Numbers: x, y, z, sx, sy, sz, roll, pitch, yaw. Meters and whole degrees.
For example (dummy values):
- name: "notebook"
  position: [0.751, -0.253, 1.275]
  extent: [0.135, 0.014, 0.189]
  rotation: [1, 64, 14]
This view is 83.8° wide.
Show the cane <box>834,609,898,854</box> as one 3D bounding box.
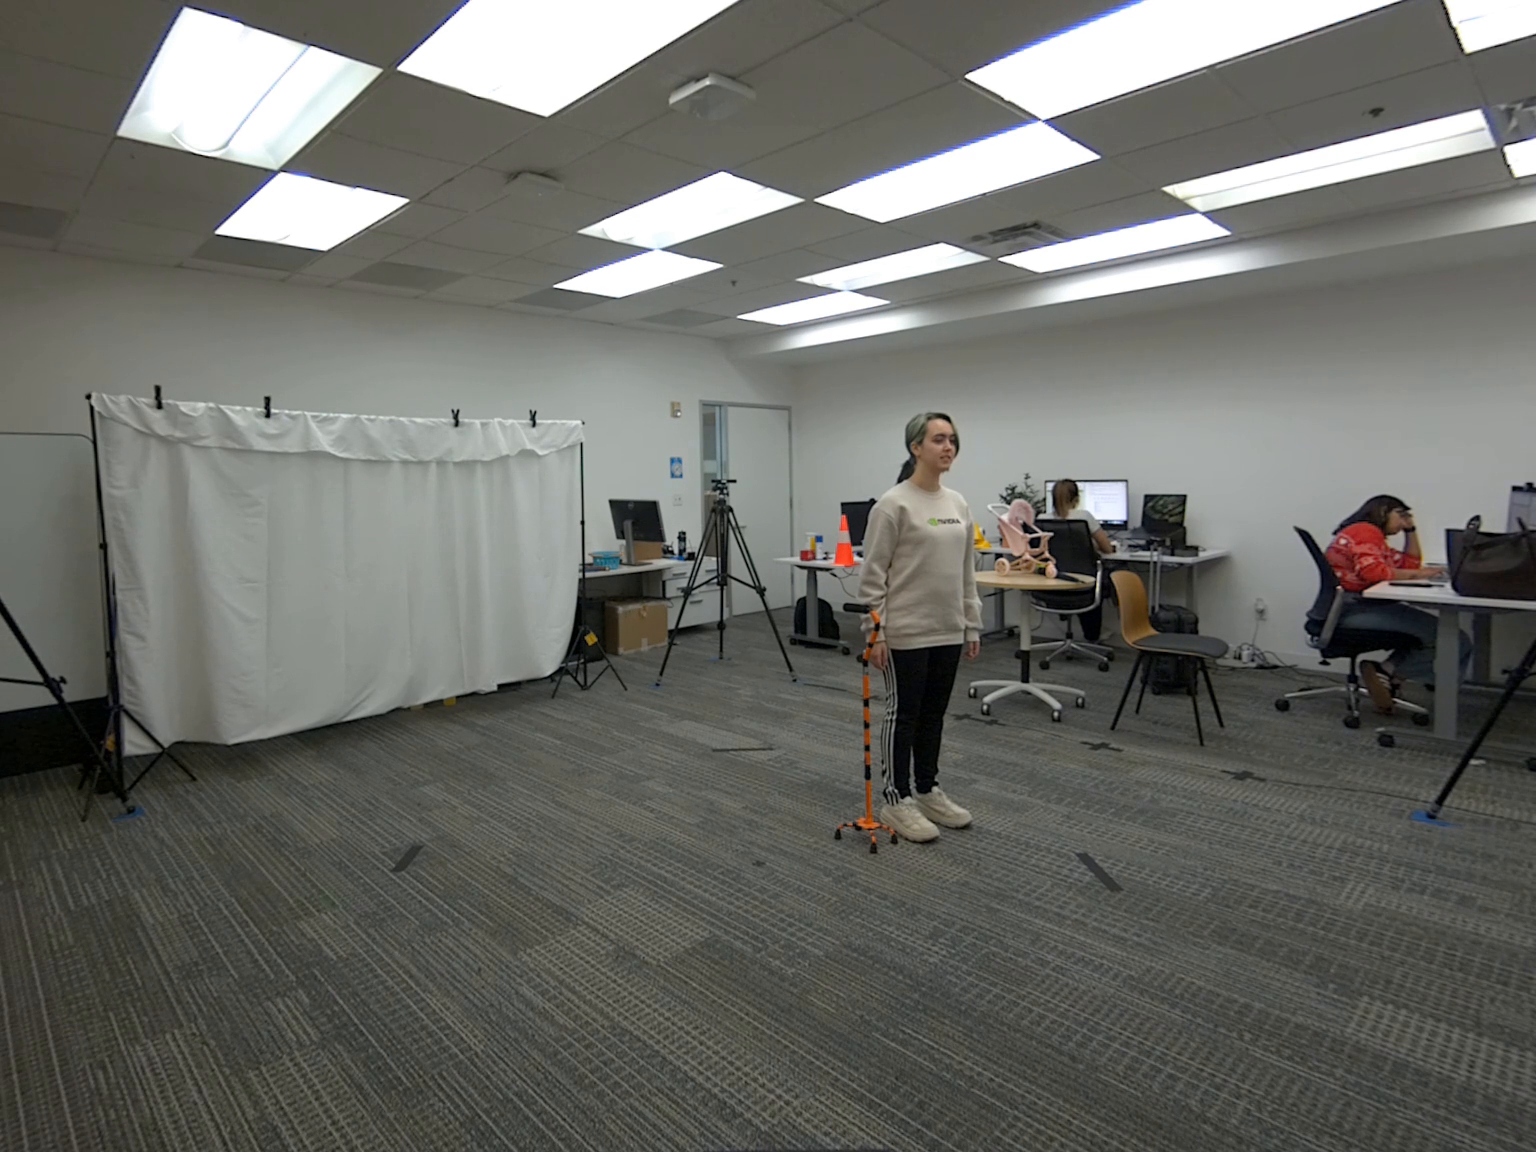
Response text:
- name: "cane"
  position: [0.373, 0.567, 3.265]
  extent: [0.147, 0.905, 0.213]
  rotation: [-3, 4, -41]
